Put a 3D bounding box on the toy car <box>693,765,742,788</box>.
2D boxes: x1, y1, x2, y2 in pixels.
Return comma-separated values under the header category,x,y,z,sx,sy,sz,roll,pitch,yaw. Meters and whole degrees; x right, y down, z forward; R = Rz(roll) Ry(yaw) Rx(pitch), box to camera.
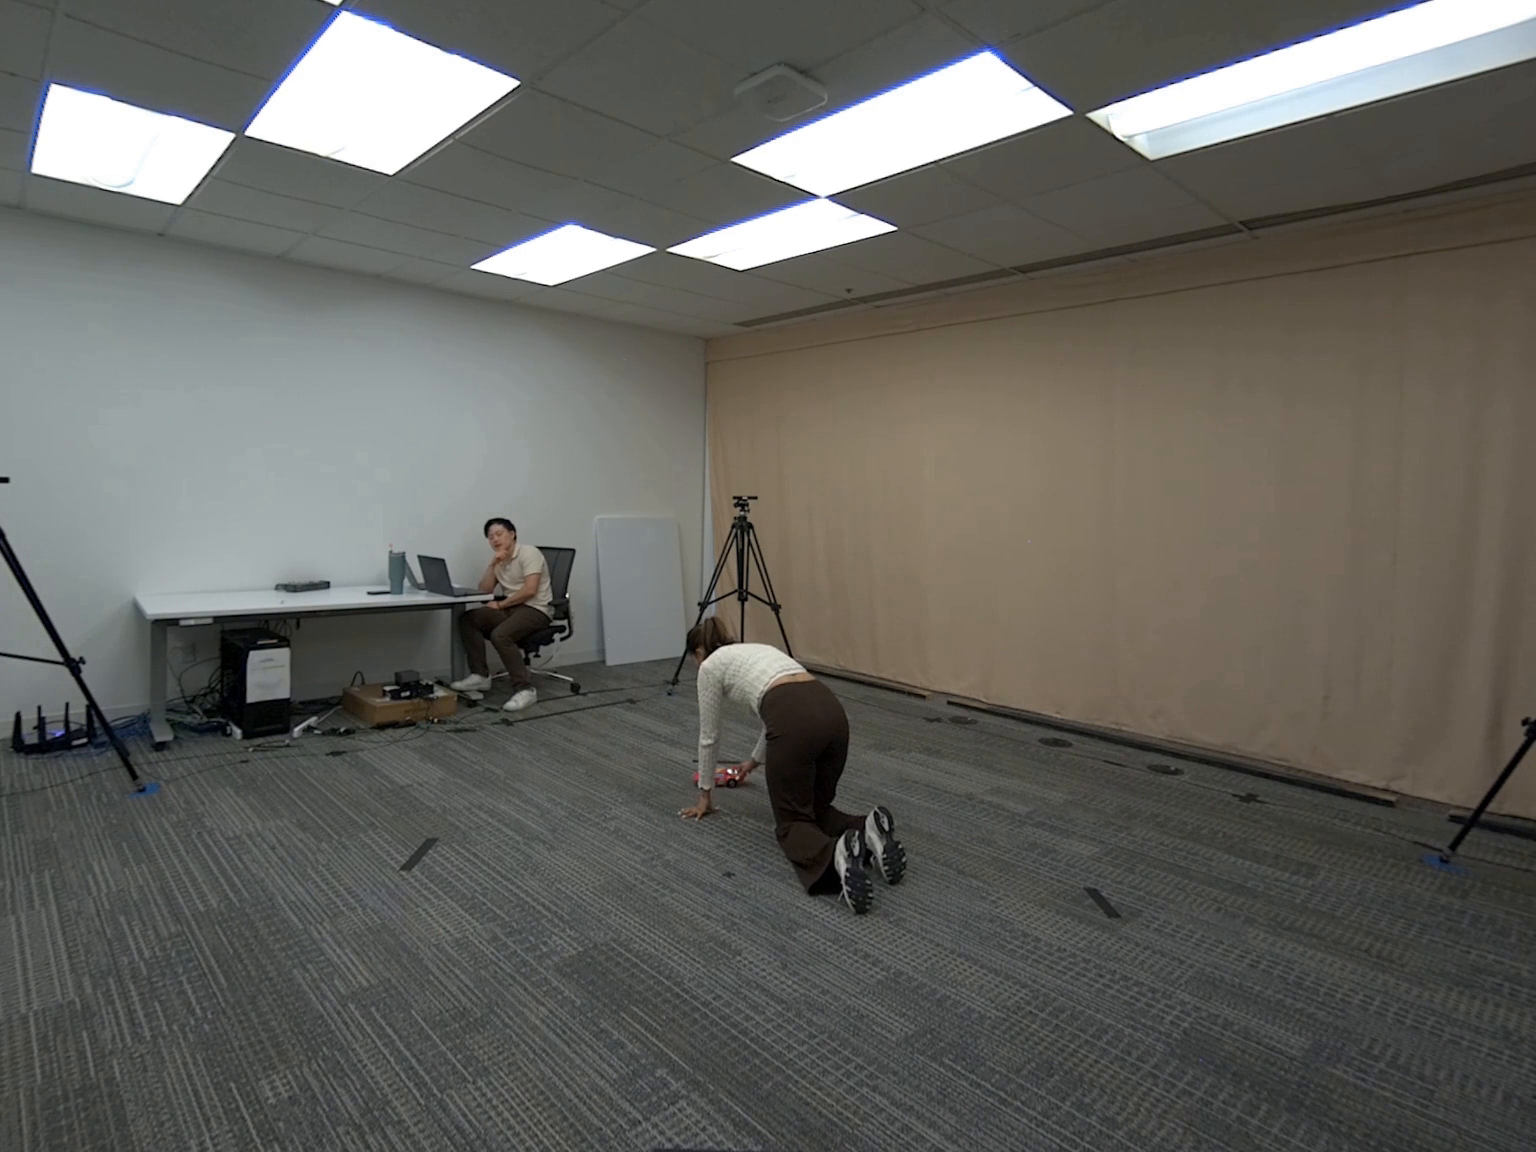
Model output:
category,x,y,z,sx,sy,sz,roll,pitch,yaw
toy car,-0.241,0.984,4.100,0.254,0.083,0.131,-10,6,-5
